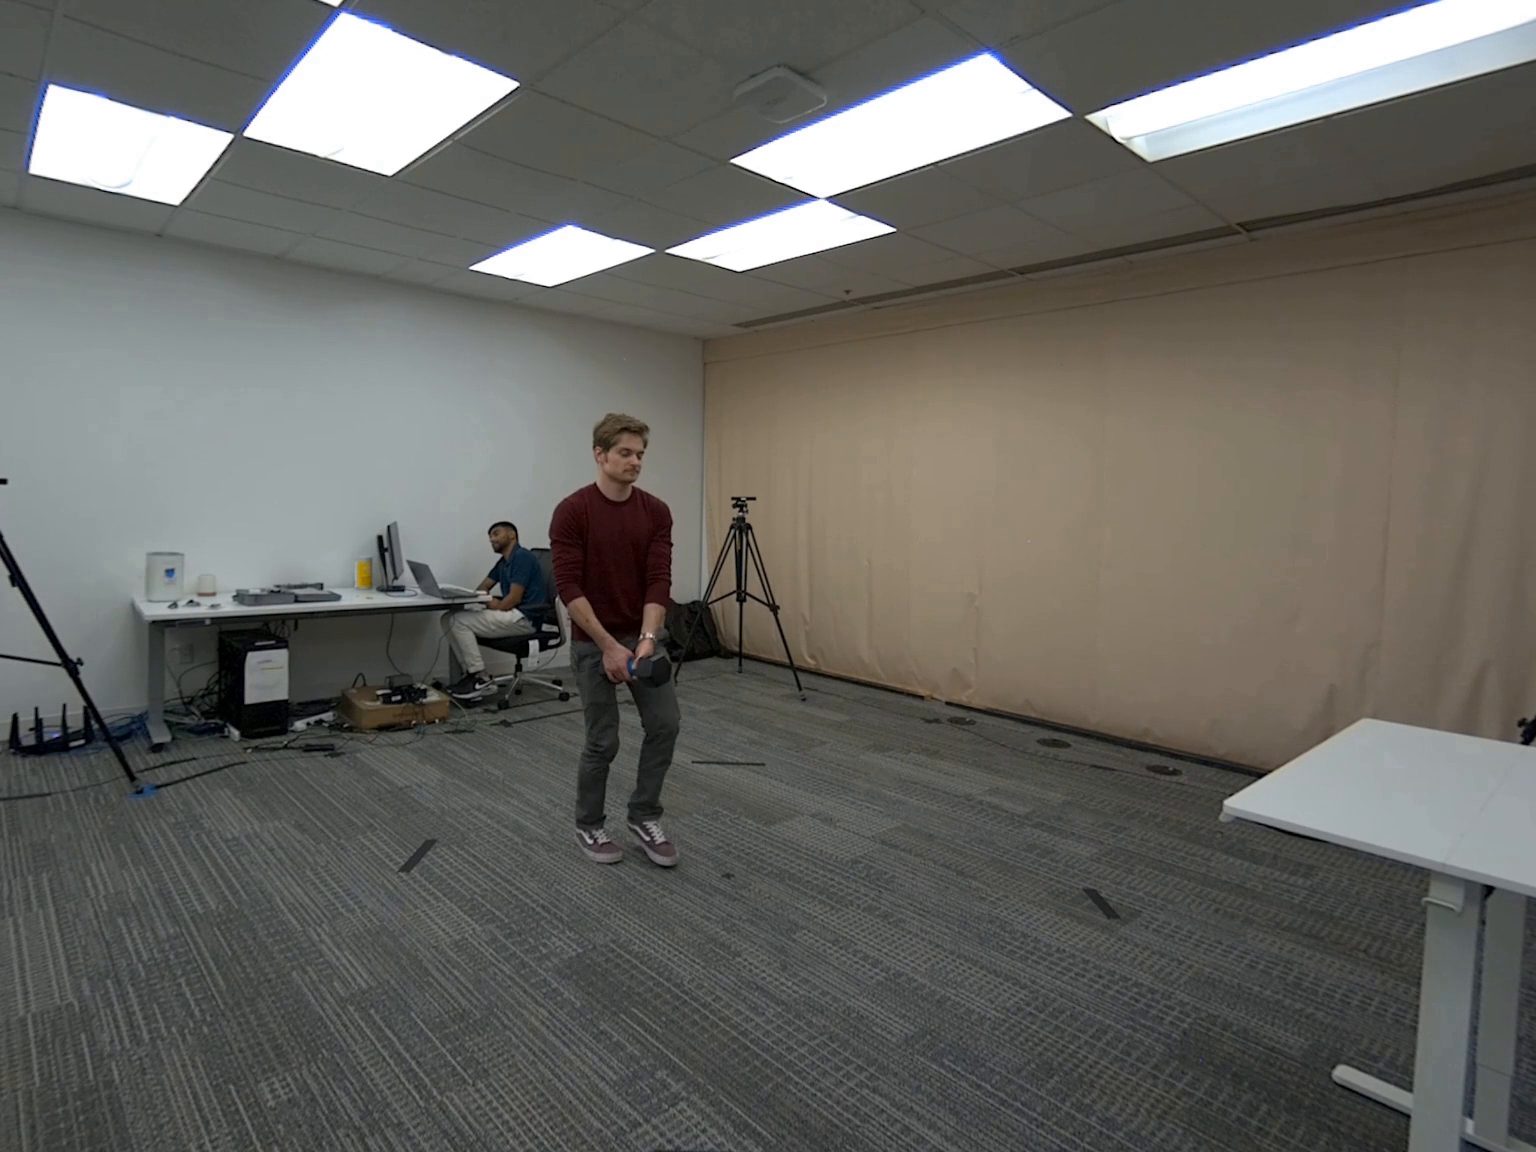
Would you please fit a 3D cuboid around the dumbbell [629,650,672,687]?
[{"bbox_3d":[-0.470,0.332,2.966,0.300,0.109,0.120,-4,-46,45],"label":"dumbbell"}]
